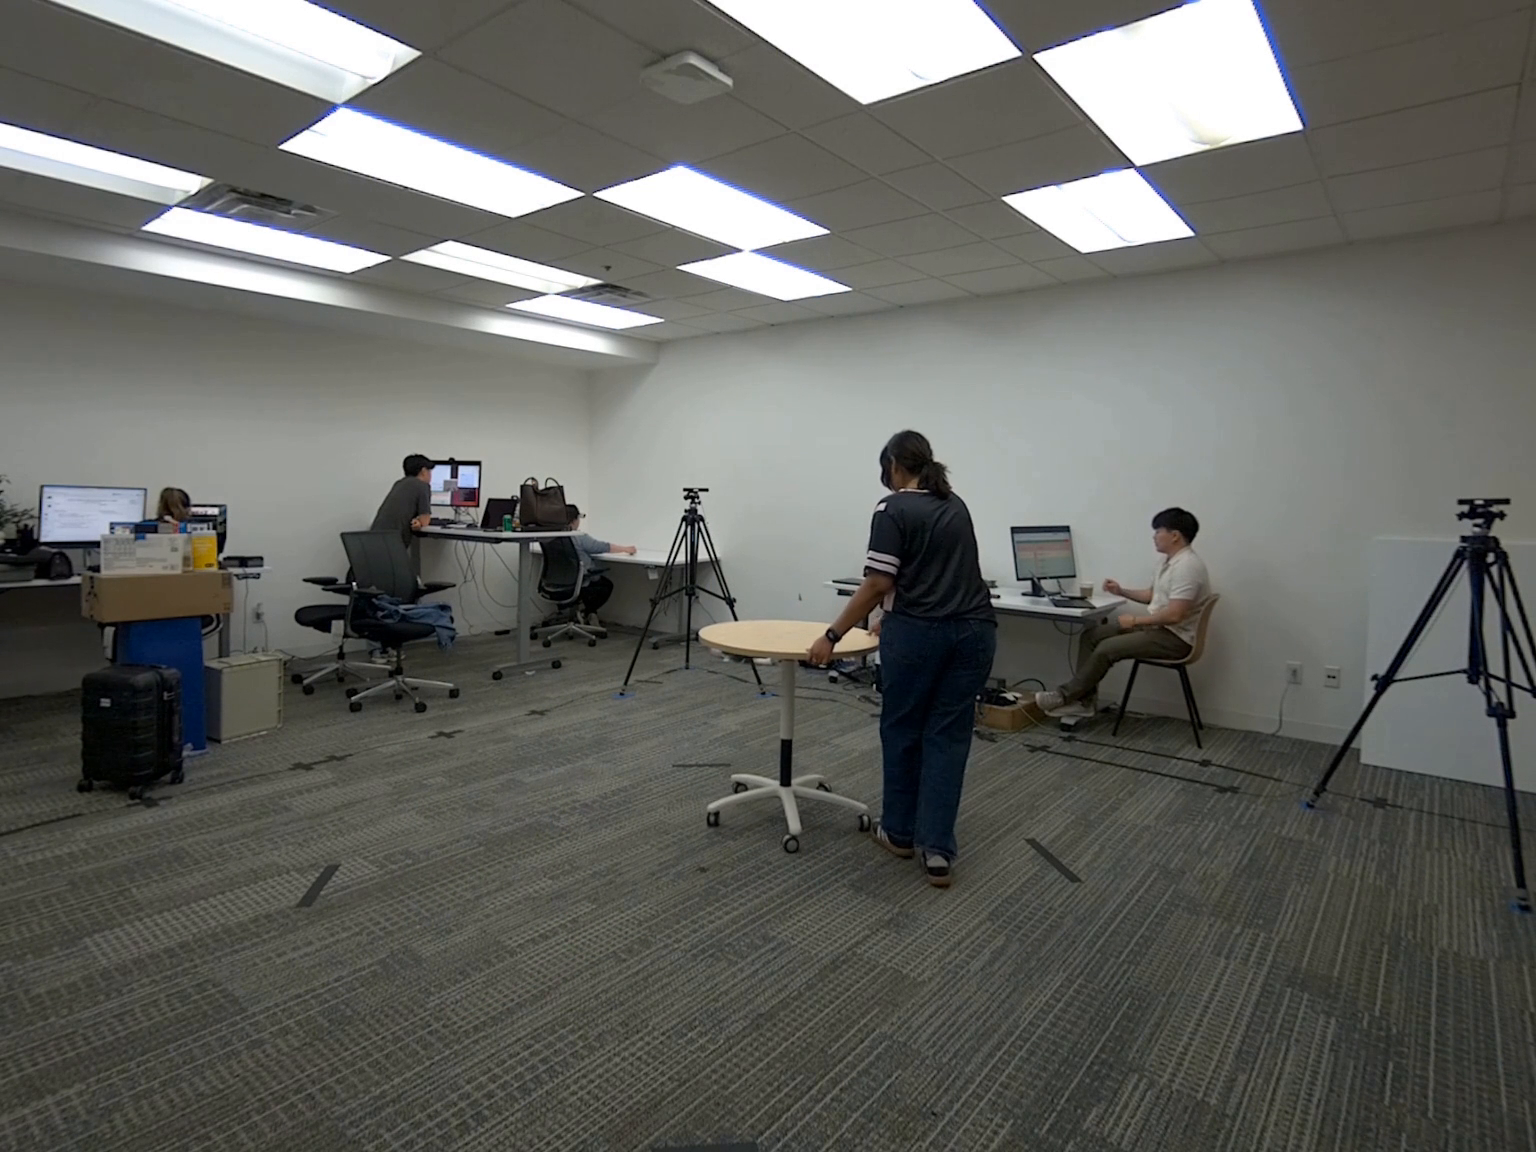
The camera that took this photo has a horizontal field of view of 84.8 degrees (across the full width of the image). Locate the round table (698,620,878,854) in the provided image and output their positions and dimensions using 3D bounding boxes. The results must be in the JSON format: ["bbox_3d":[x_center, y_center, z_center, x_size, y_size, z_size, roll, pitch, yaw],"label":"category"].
[{"bbox_3d":[0.064,0.634,3.616,0.784,0.784,0.789,2,4,-2],"label":"round table"}]
